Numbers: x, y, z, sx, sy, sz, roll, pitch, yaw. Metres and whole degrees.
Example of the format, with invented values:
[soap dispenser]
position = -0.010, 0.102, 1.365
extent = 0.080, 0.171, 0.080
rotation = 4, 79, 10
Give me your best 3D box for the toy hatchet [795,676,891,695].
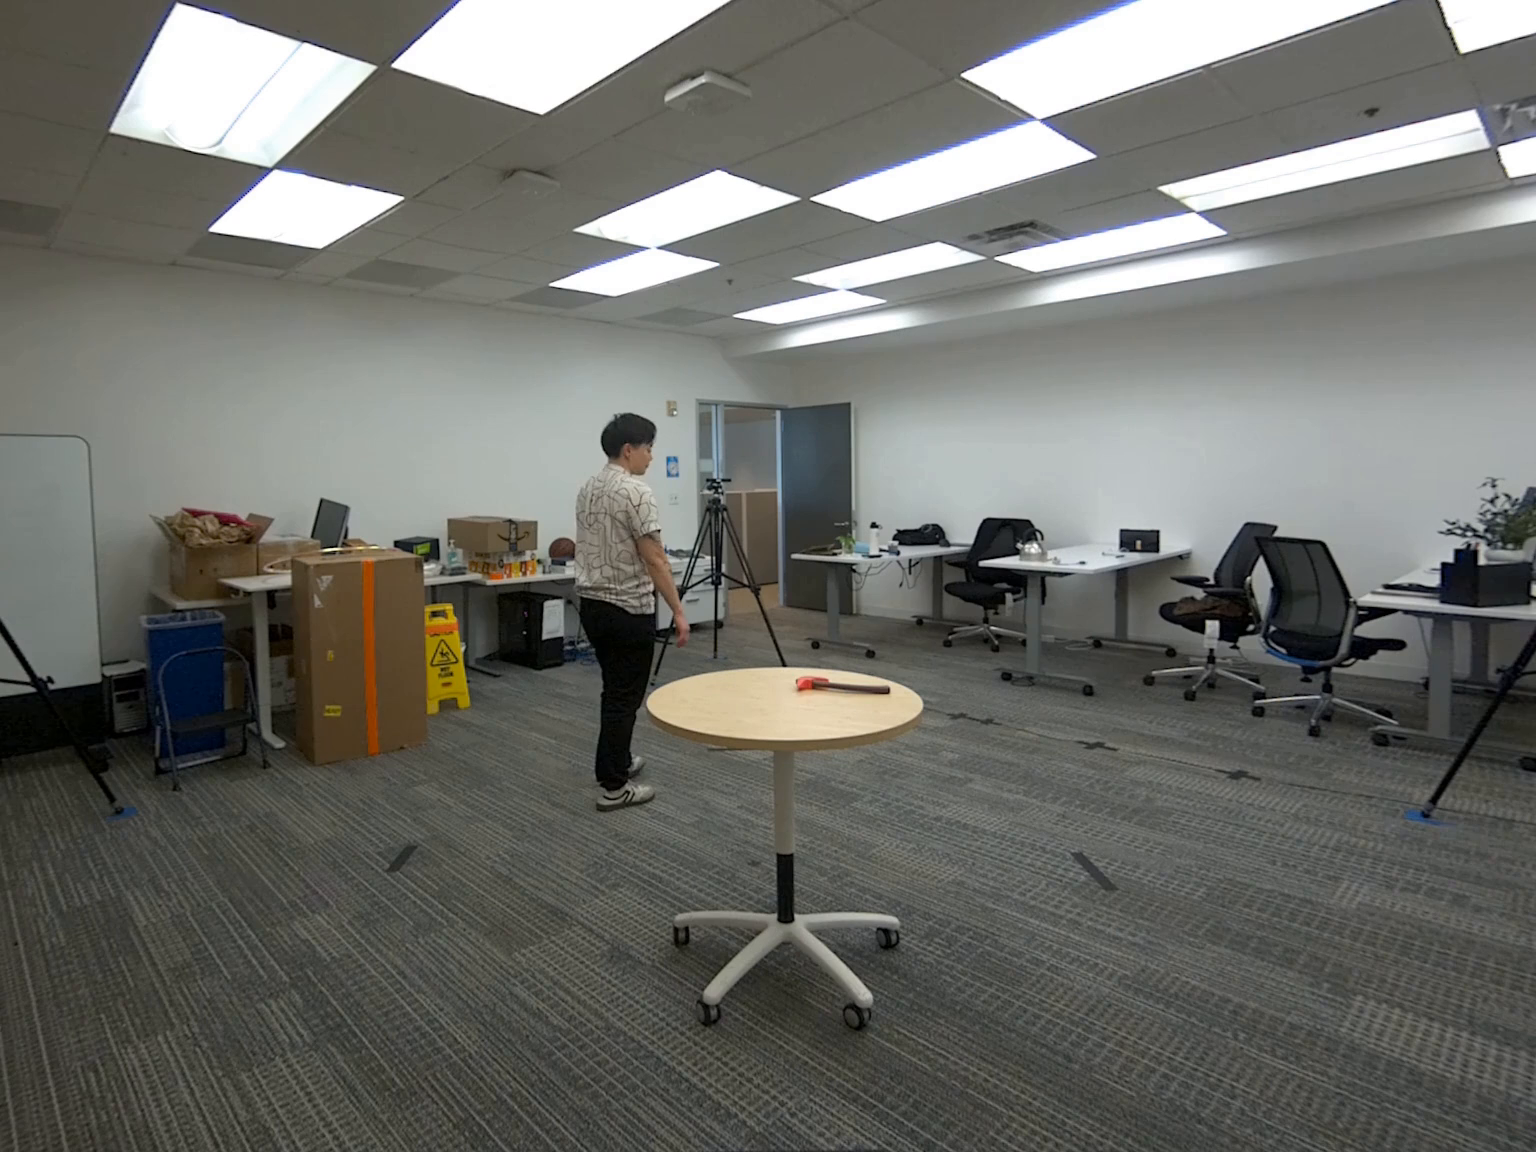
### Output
[toy hatchet]
position = 0.229, 0.322, 2.488
extent = 0.272, 0.029, 0.130
rotation = 1, 3, 6
